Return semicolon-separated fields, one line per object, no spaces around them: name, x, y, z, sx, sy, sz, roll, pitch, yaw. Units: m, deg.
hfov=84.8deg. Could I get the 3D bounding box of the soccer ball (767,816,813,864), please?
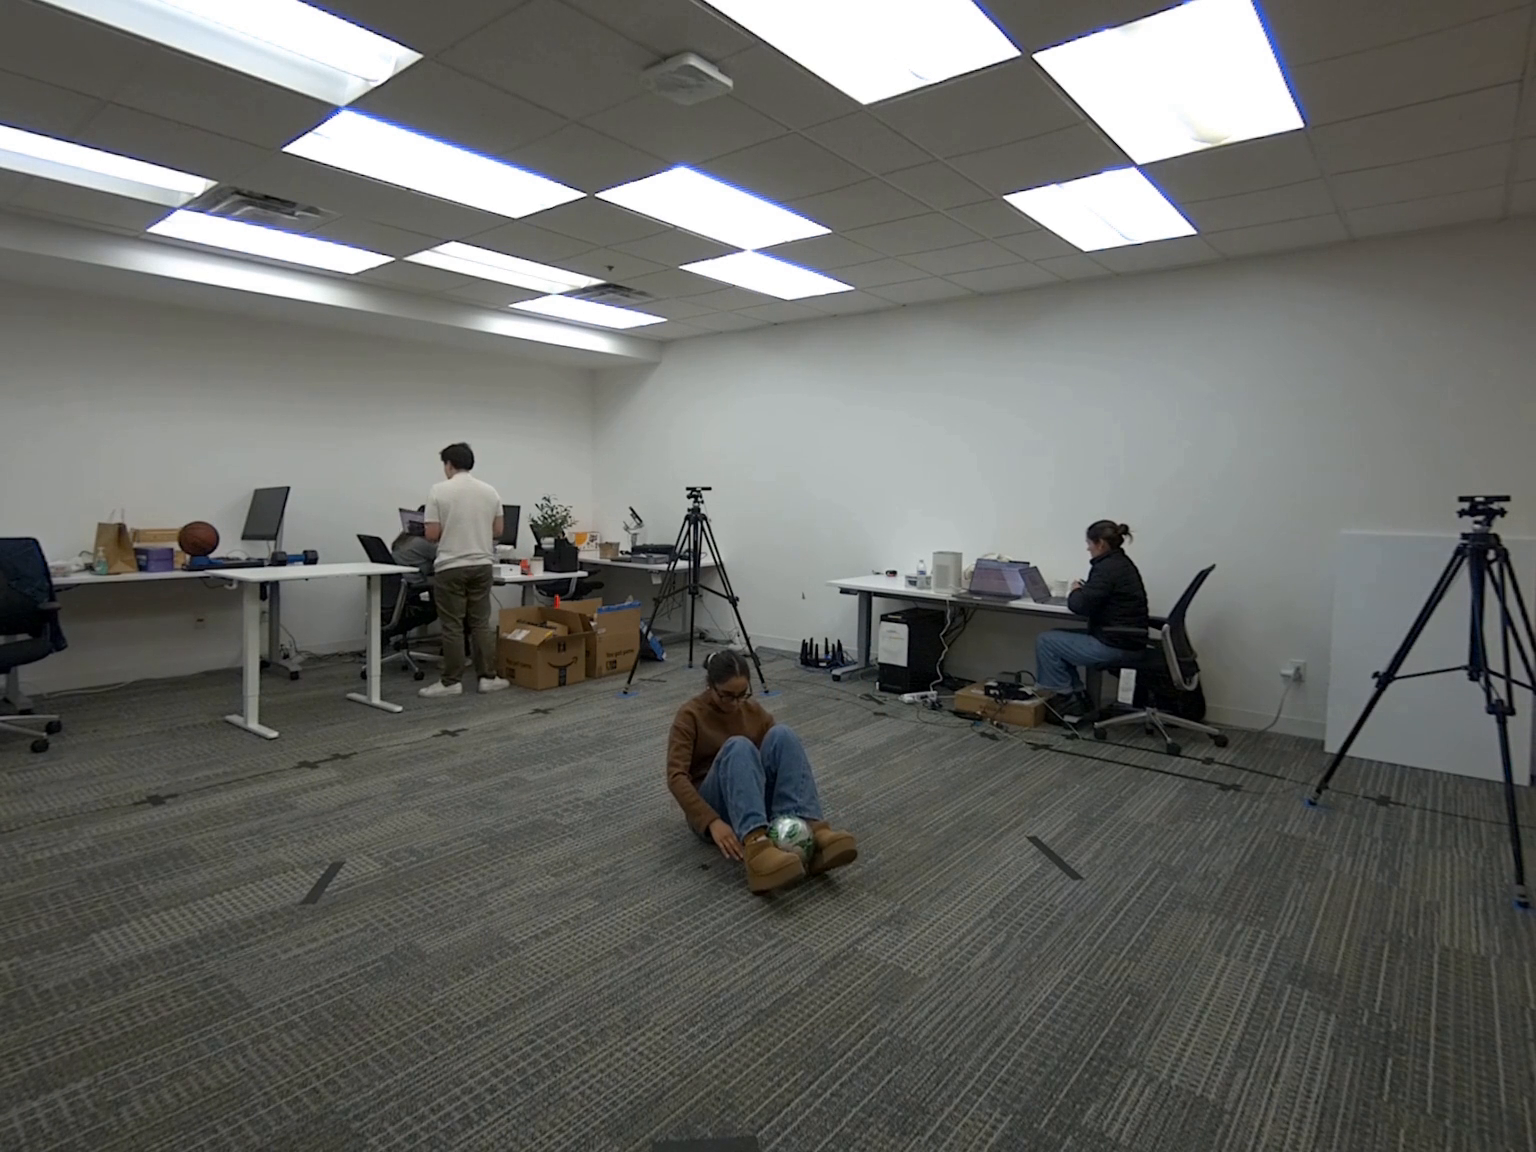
soccer ball;0.060;0.948;3.022;0.187;0.187;0.188;1;4;-2
